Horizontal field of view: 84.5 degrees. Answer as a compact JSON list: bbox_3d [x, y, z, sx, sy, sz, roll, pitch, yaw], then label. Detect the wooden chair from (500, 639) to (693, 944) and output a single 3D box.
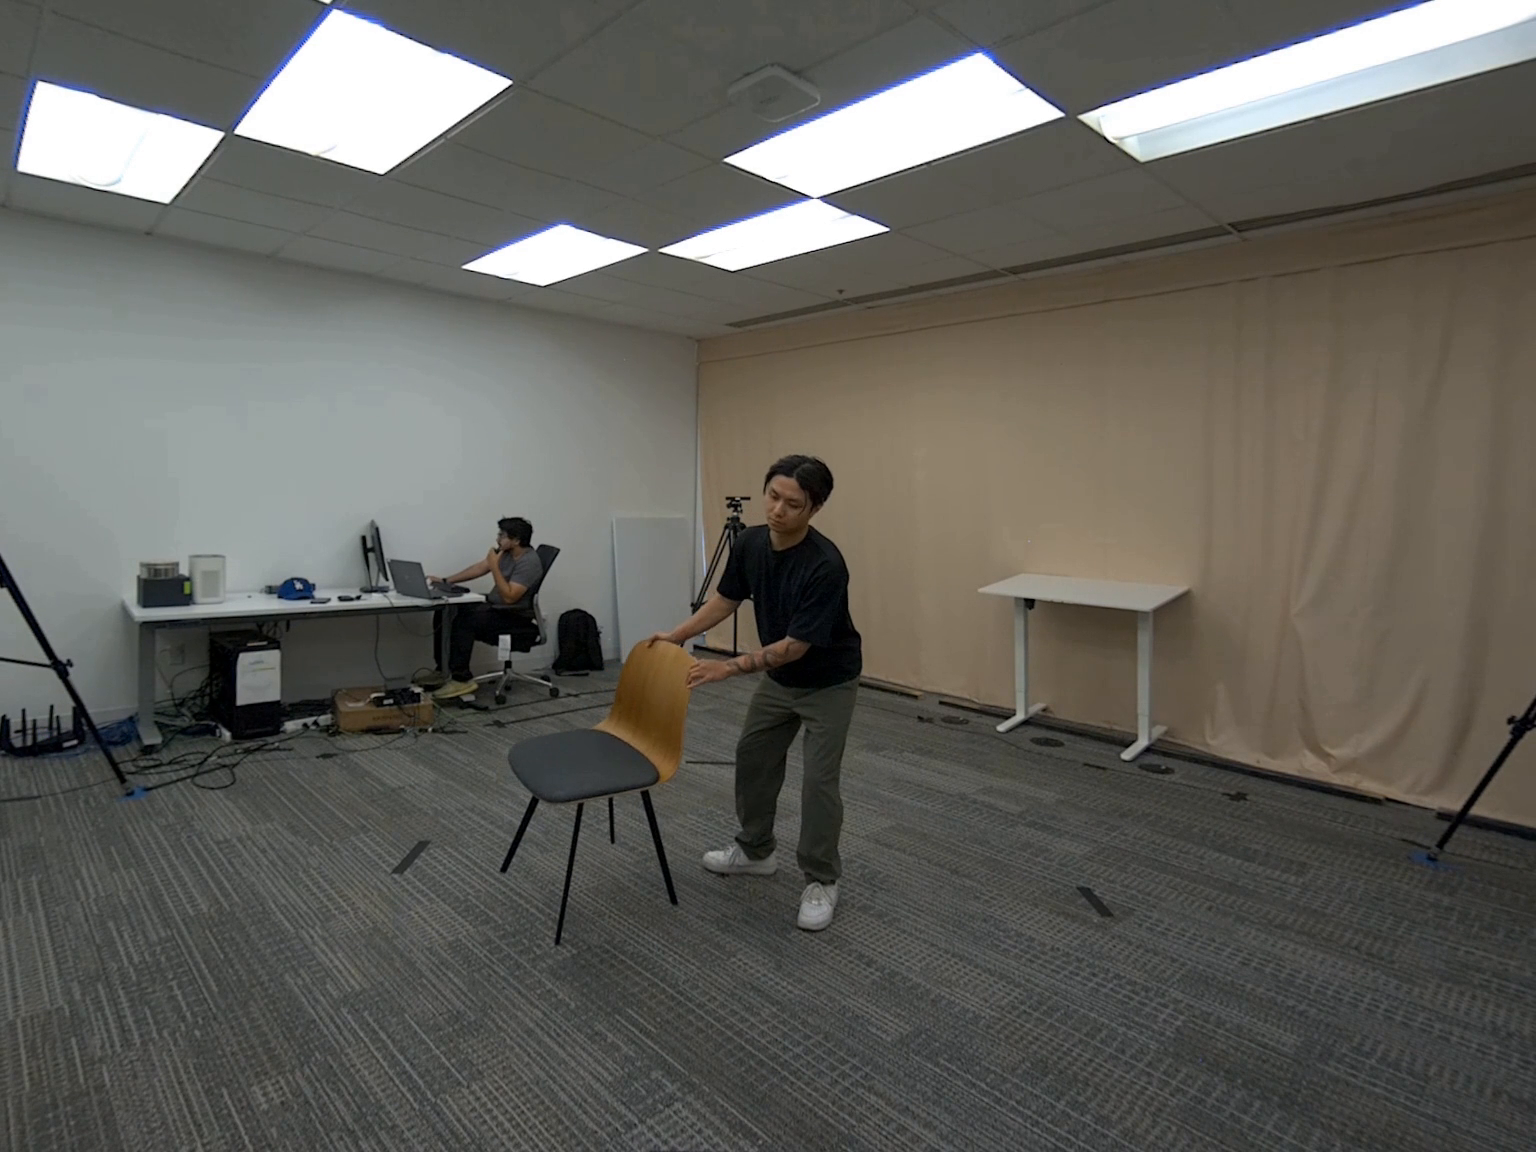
[{"bbox_3d":[-0.578,0.666,2.823,0.510,0.874,0.492,5,9,-40],"label":"wooden chair"}]
